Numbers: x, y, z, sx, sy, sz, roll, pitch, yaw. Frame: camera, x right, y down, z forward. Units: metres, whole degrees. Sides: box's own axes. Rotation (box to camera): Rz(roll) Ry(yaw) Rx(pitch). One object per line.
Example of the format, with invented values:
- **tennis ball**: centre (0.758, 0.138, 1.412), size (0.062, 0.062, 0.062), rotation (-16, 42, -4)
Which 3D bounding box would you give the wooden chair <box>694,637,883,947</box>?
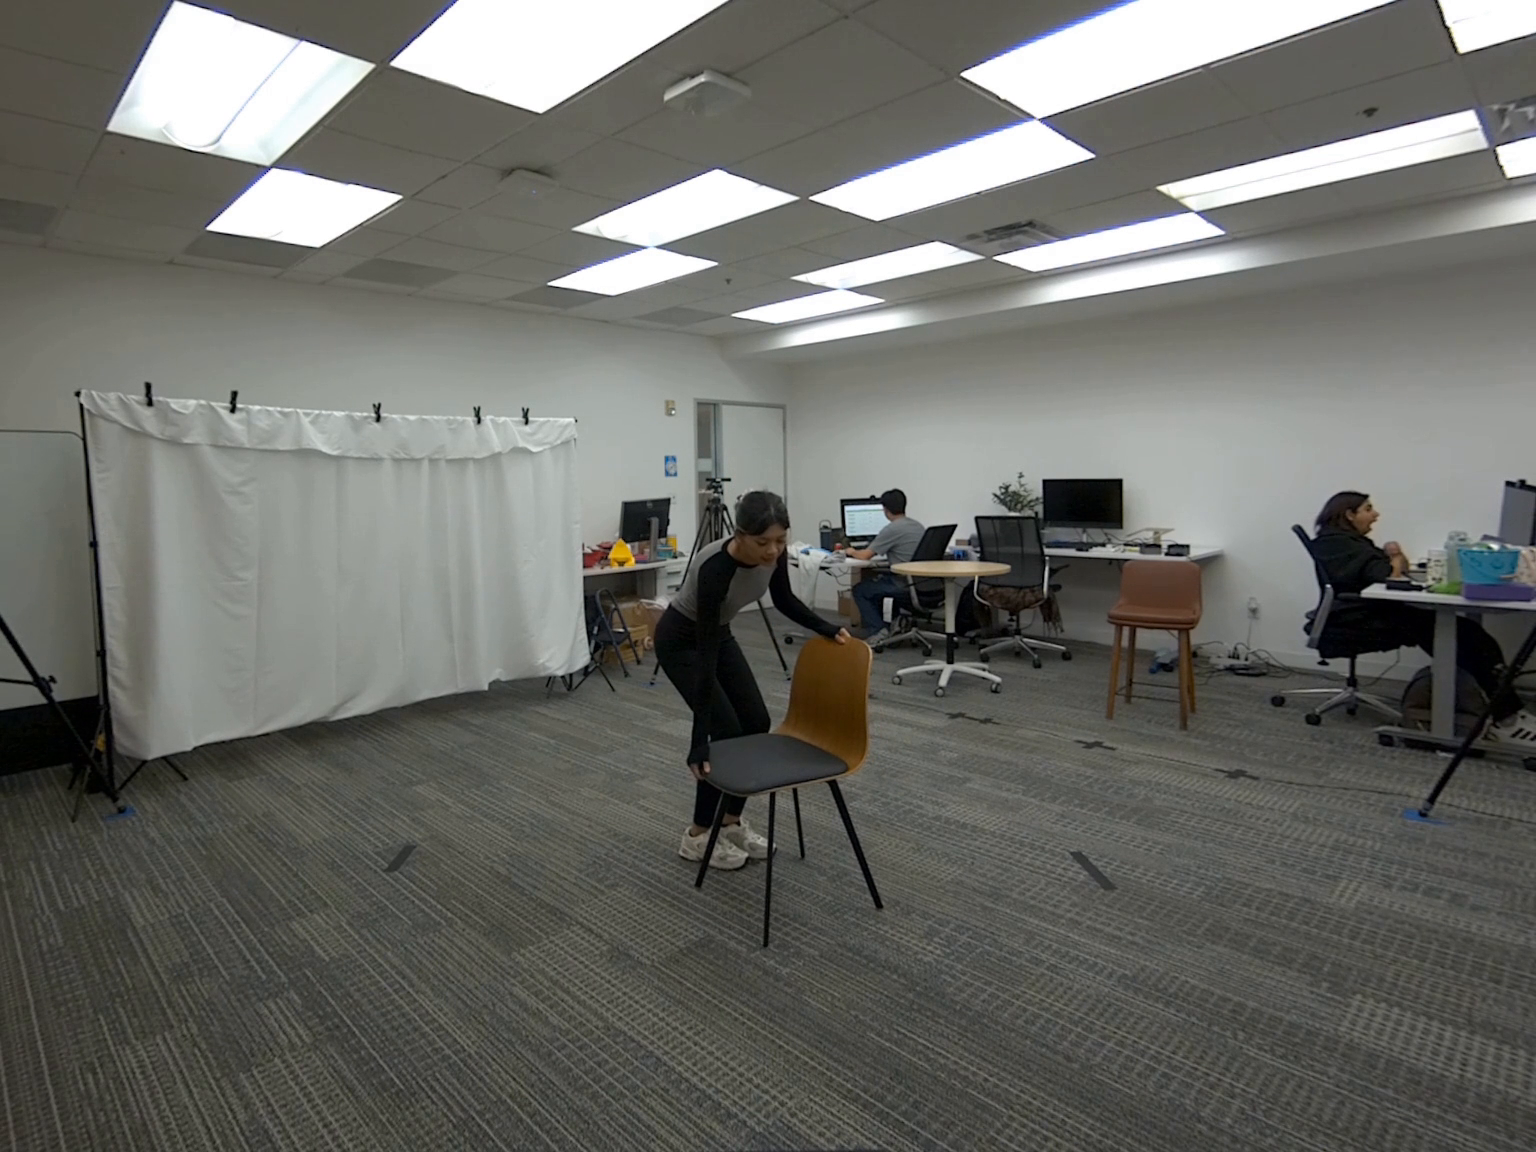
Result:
- **wooden chair**: centre (0.046, 0.646, 2.802), size (0.510, 0.875, 0.492), rotation (1, 3, -31)
